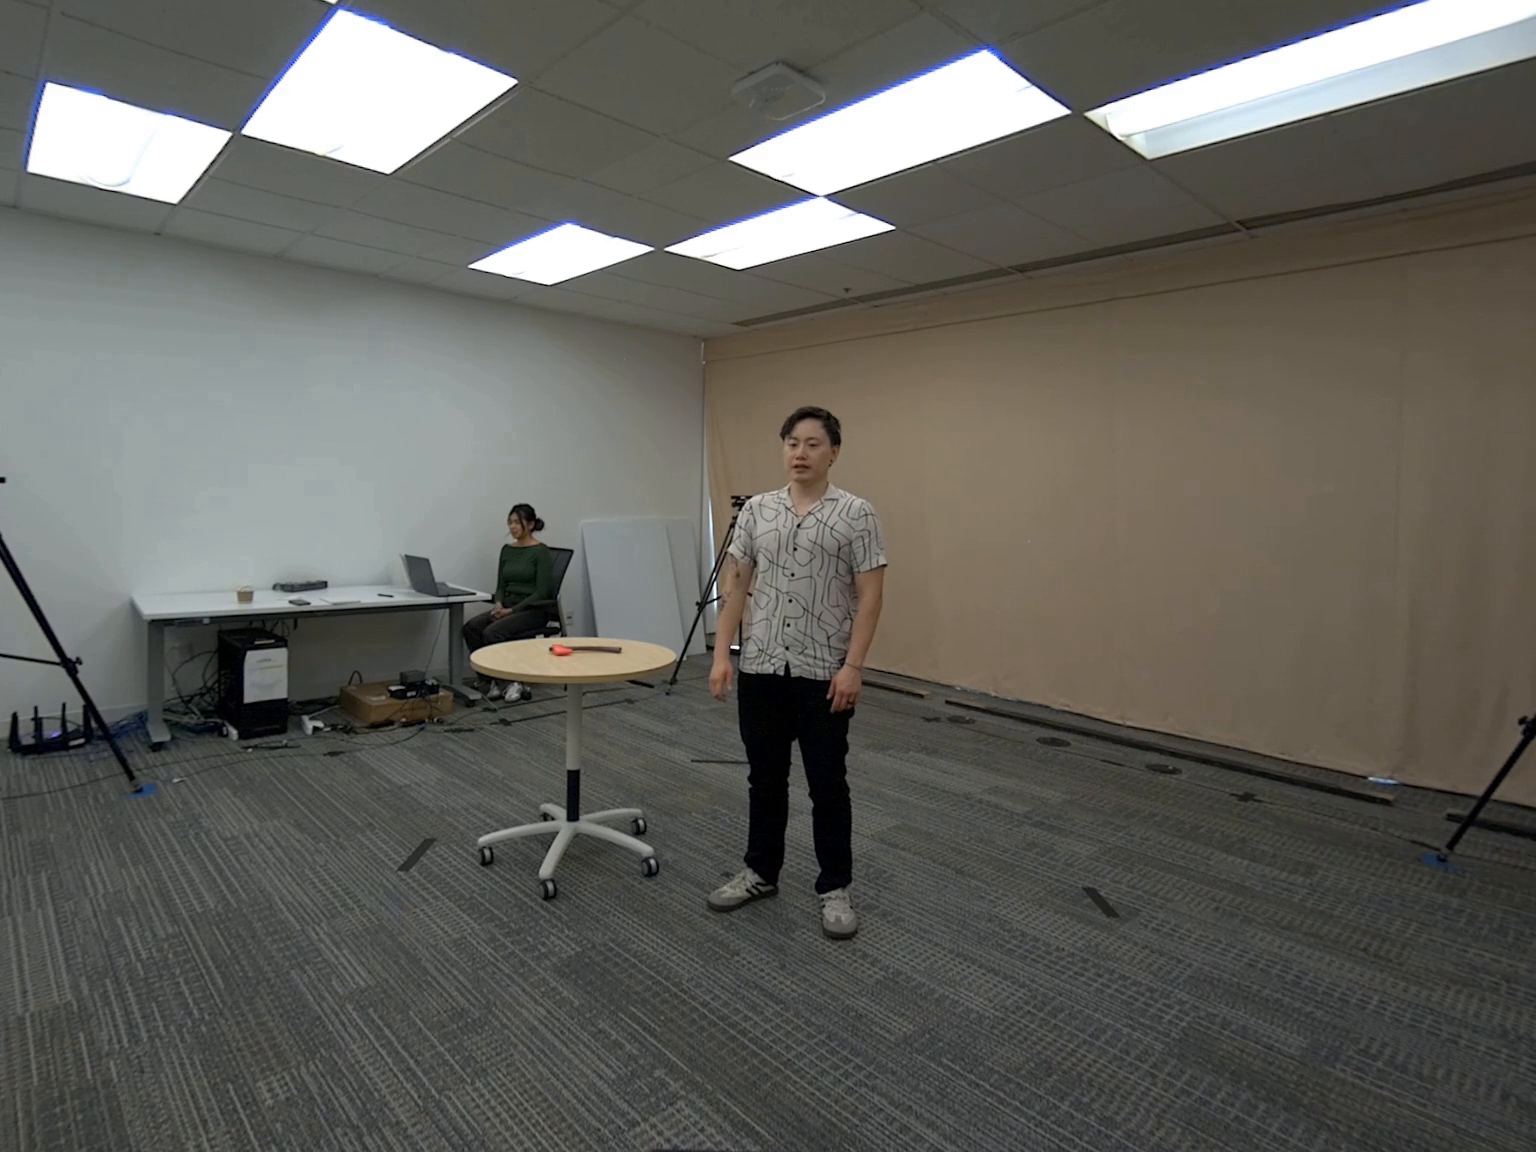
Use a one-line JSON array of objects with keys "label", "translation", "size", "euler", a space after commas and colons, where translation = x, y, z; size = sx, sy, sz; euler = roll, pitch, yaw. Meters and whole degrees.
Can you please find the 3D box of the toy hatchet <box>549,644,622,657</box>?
[{"label": "toy hatchet", "translation": [-0.705, 0.284, 3.208], "size": [0.270, 0.029, 0.131], "euler": [2, 7, -1]}]
